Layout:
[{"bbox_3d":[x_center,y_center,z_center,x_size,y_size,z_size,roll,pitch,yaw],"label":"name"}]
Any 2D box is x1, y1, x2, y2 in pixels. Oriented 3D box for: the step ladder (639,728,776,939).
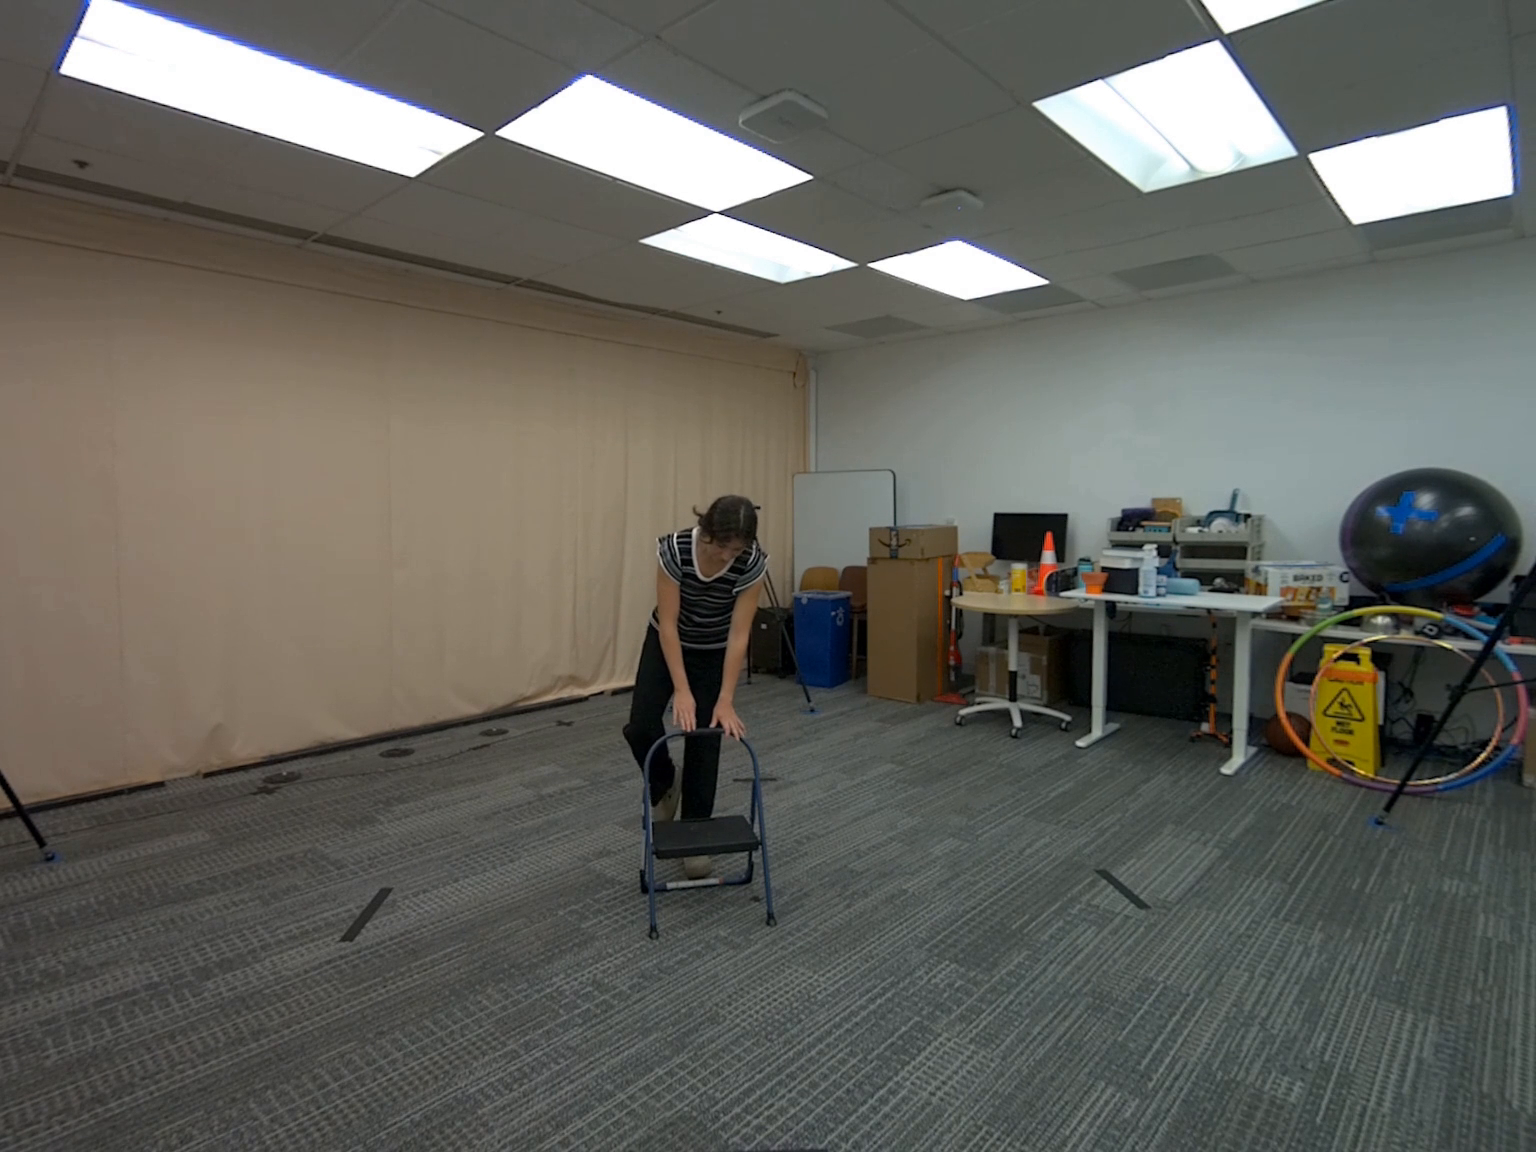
[{"bbox_3d":[-0.216,0.848,2.911,0.425,0.605,0.355,-1,3,-13],"label":"step ladder"}]
